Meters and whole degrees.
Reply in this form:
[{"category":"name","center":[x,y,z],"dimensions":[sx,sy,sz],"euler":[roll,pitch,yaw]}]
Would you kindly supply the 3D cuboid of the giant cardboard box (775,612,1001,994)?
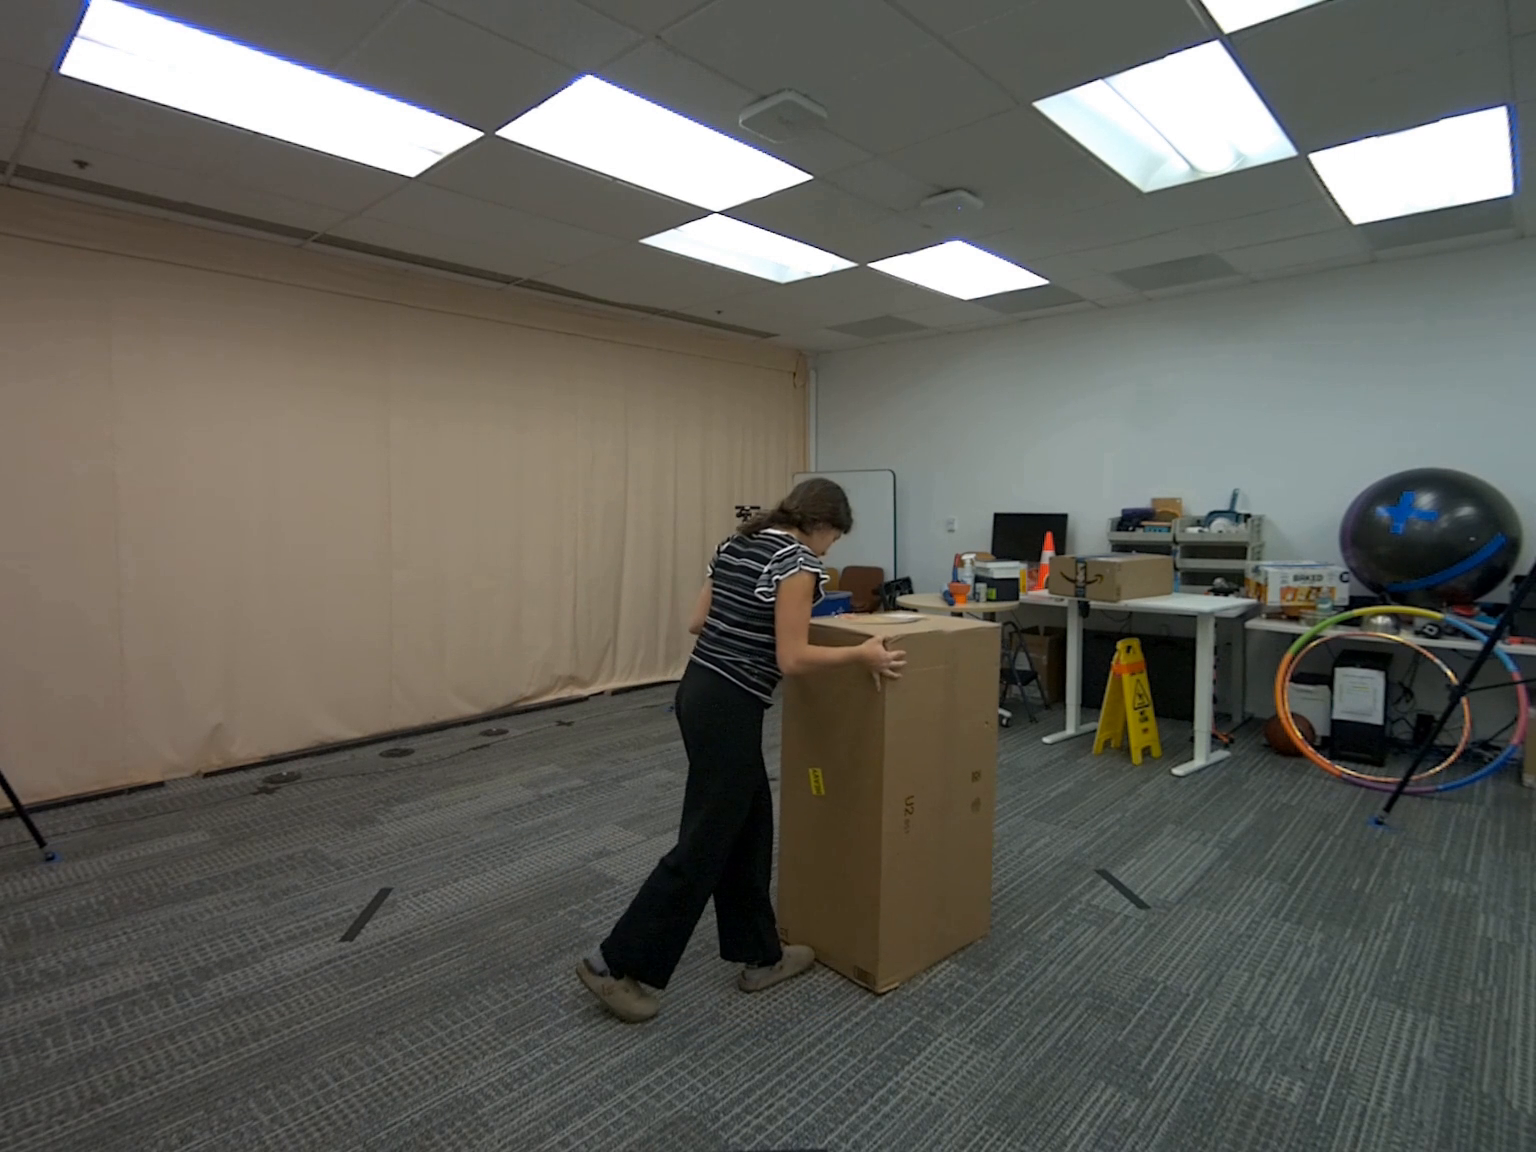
[{"category":"giant cardboard box","center":[0.393,0.660,2.711],"dimensions":[0.559,1.024,0.440],"euler":[-1,3,-40]}]
